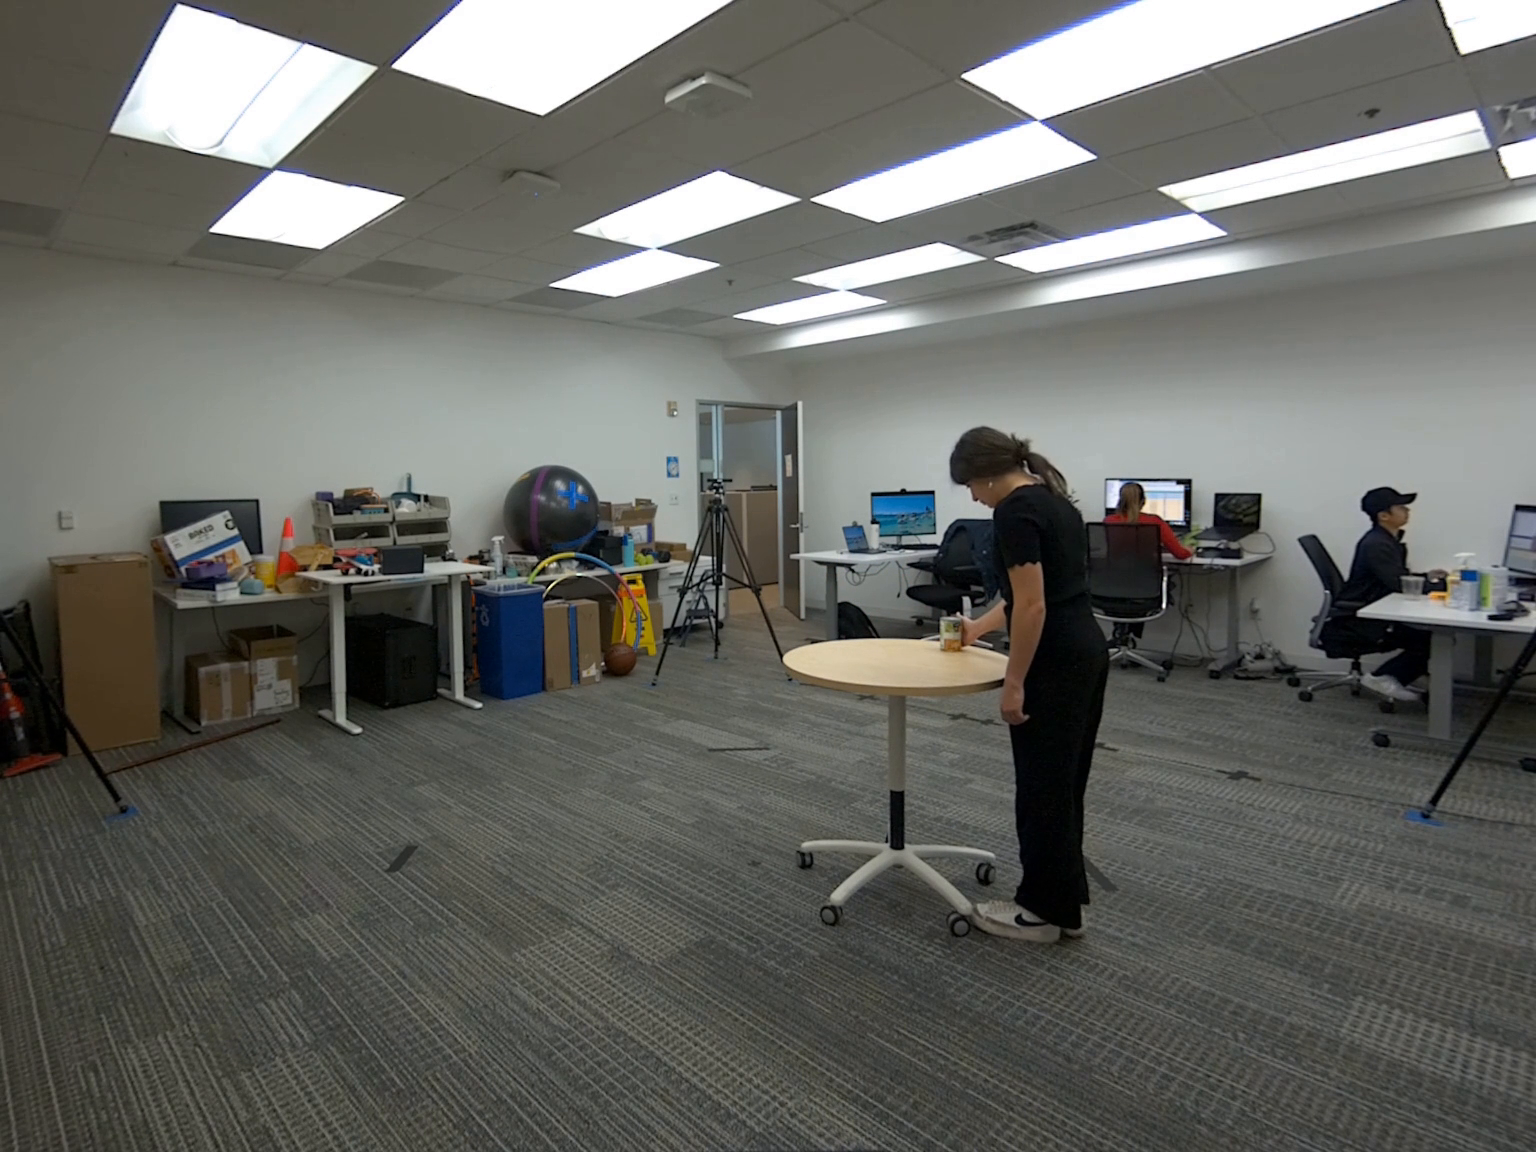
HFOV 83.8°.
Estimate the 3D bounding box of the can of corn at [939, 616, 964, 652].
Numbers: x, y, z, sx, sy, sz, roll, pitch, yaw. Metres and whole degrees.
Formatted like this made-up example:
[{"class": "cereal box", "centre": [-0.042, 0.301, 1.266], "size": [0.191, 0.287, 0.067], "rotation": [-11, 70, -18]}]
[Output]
[{"class": "can of corn", "centre": [0.649, 0.208, 3.013], "size": [0.074, 0.110, 0.075], "rotation": [2, 6, -2]}]
